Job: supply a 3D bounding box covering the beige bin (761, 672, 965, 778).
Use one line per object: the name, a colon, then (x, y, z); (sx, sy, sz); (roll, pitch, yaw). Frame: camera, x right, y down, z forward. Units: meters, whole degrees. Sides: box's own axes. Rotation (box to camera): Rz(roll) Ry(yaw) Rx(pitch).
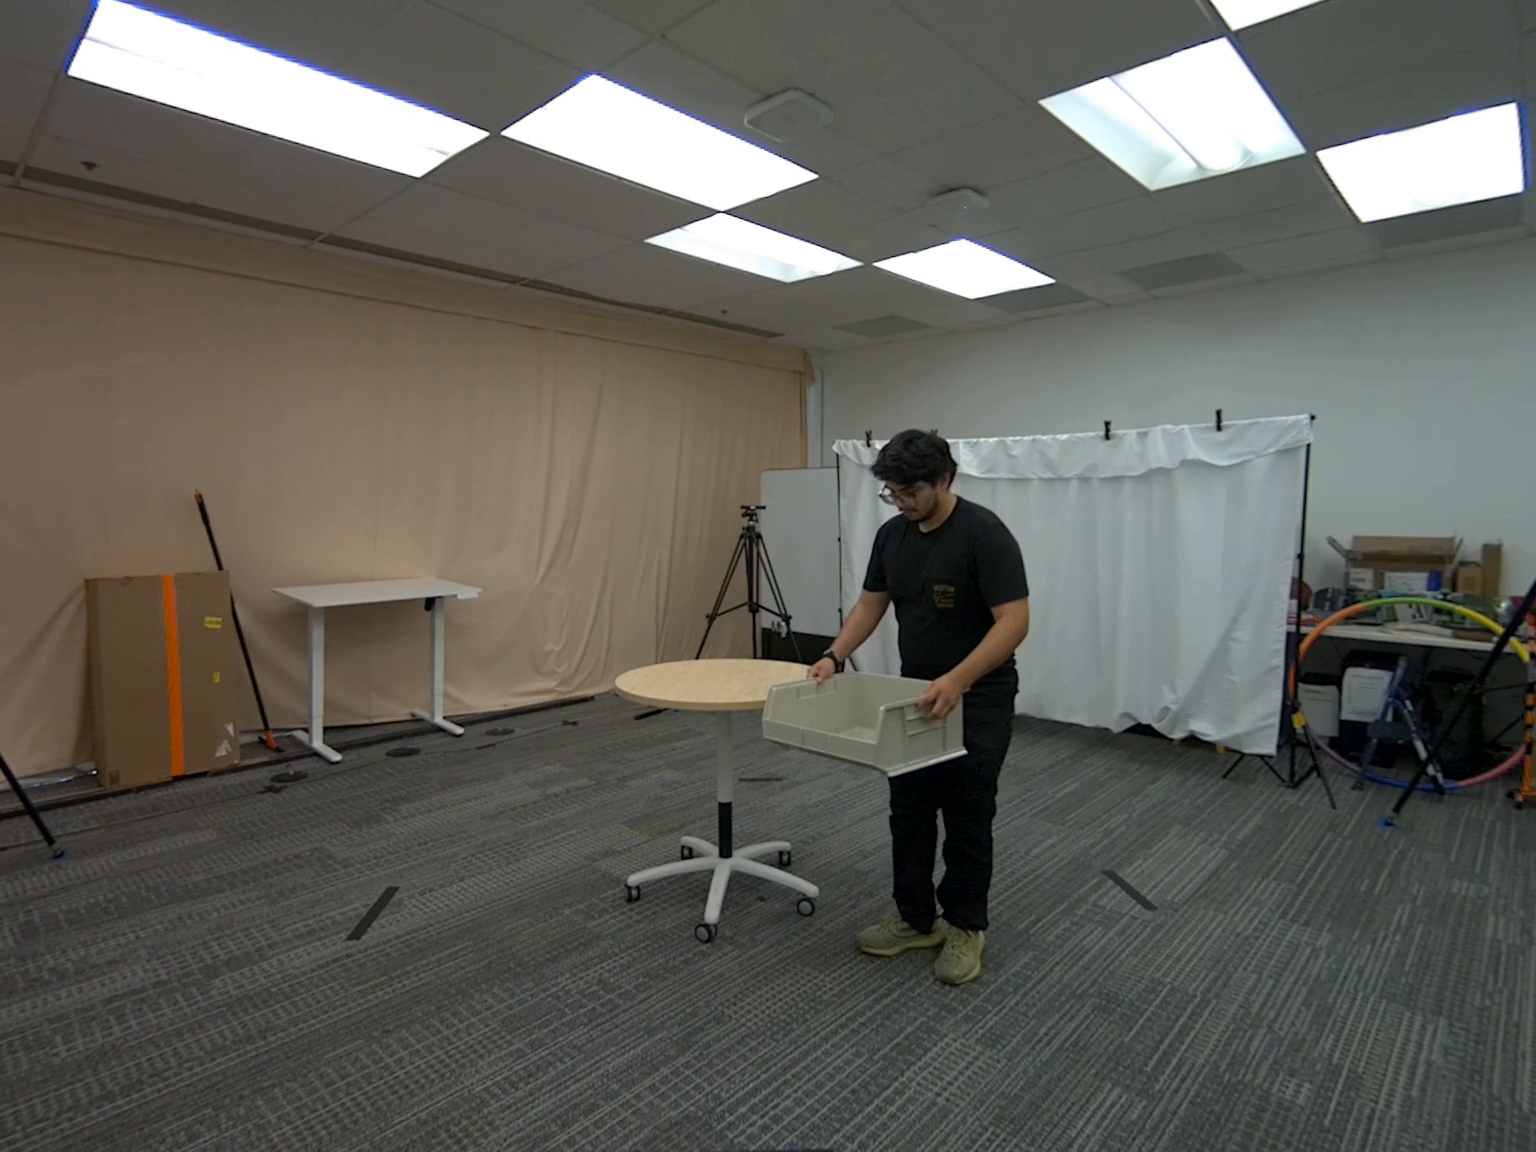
beige bin: (0.268, 0.388, 2.295); (0.366, 0.189, 0.435); (-1, 1, -40)
